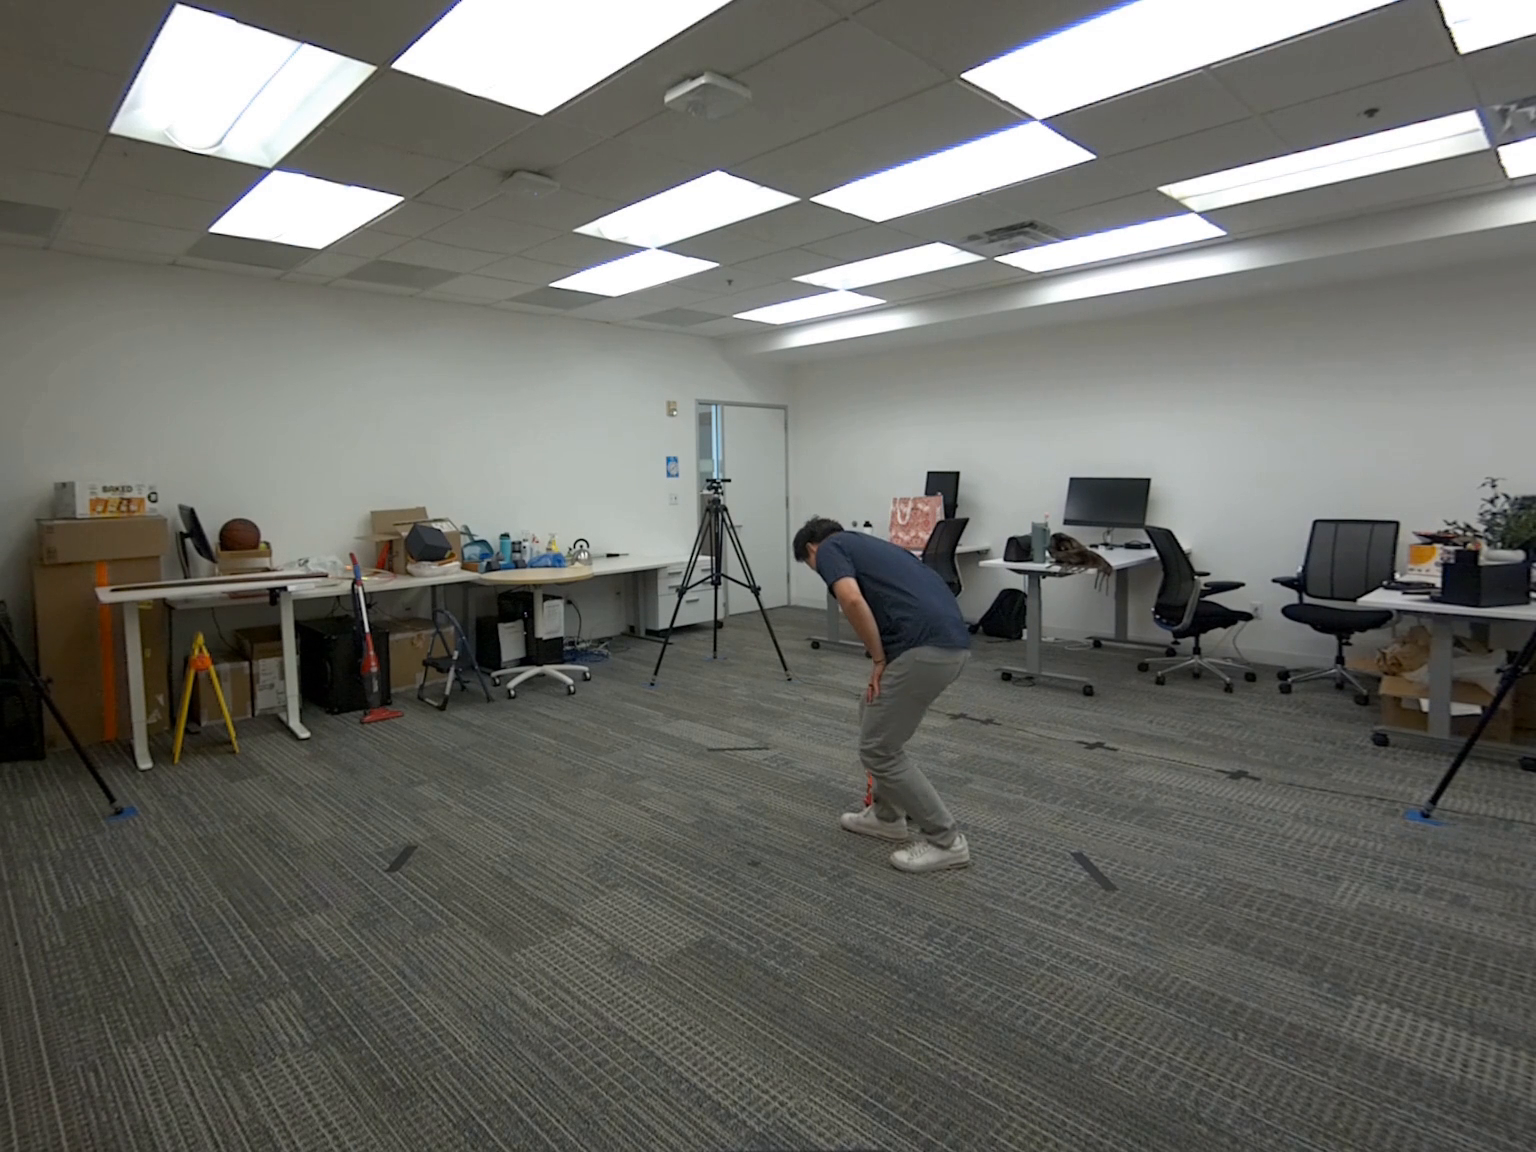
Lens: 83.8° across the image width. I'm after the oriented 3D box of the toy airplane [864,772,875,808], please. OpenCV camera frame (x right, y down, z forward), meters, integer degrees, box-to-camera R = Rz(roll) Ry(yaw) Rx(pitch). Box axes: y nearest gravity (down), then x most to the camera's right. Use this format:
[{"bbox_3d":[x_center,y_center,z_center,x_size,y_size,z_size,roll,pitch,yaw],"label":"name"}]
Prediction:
[{"bbox_3d":[0.542,0.910,3.572,0.263,0.156,0.248,0,5,16],"label":"toy airplane"}]
